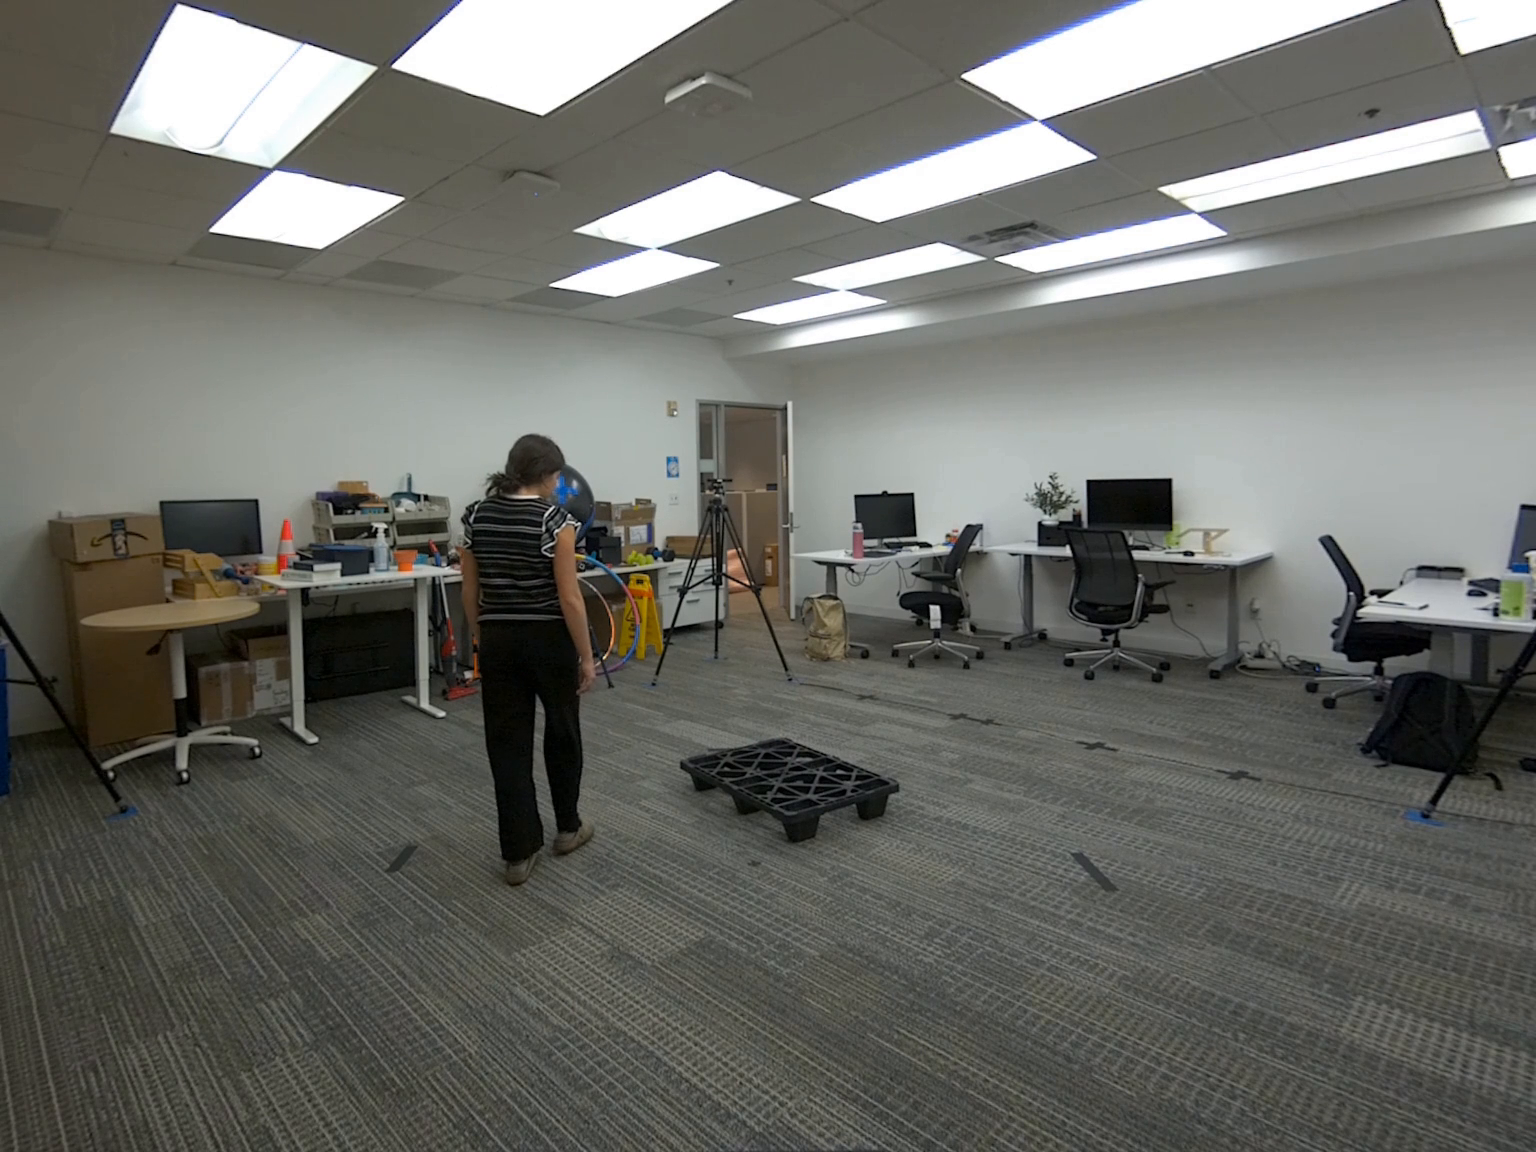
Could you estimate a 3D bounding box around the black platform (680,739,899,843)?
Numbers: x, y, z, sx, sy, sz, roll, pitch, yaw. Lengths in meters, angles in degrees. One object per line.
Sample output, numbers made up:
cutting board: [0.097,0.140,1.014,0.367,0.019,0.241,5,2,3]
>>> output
black platform: [0.077,0.909,3.705,0.590,0.143,0.830,-4,7,-35]
